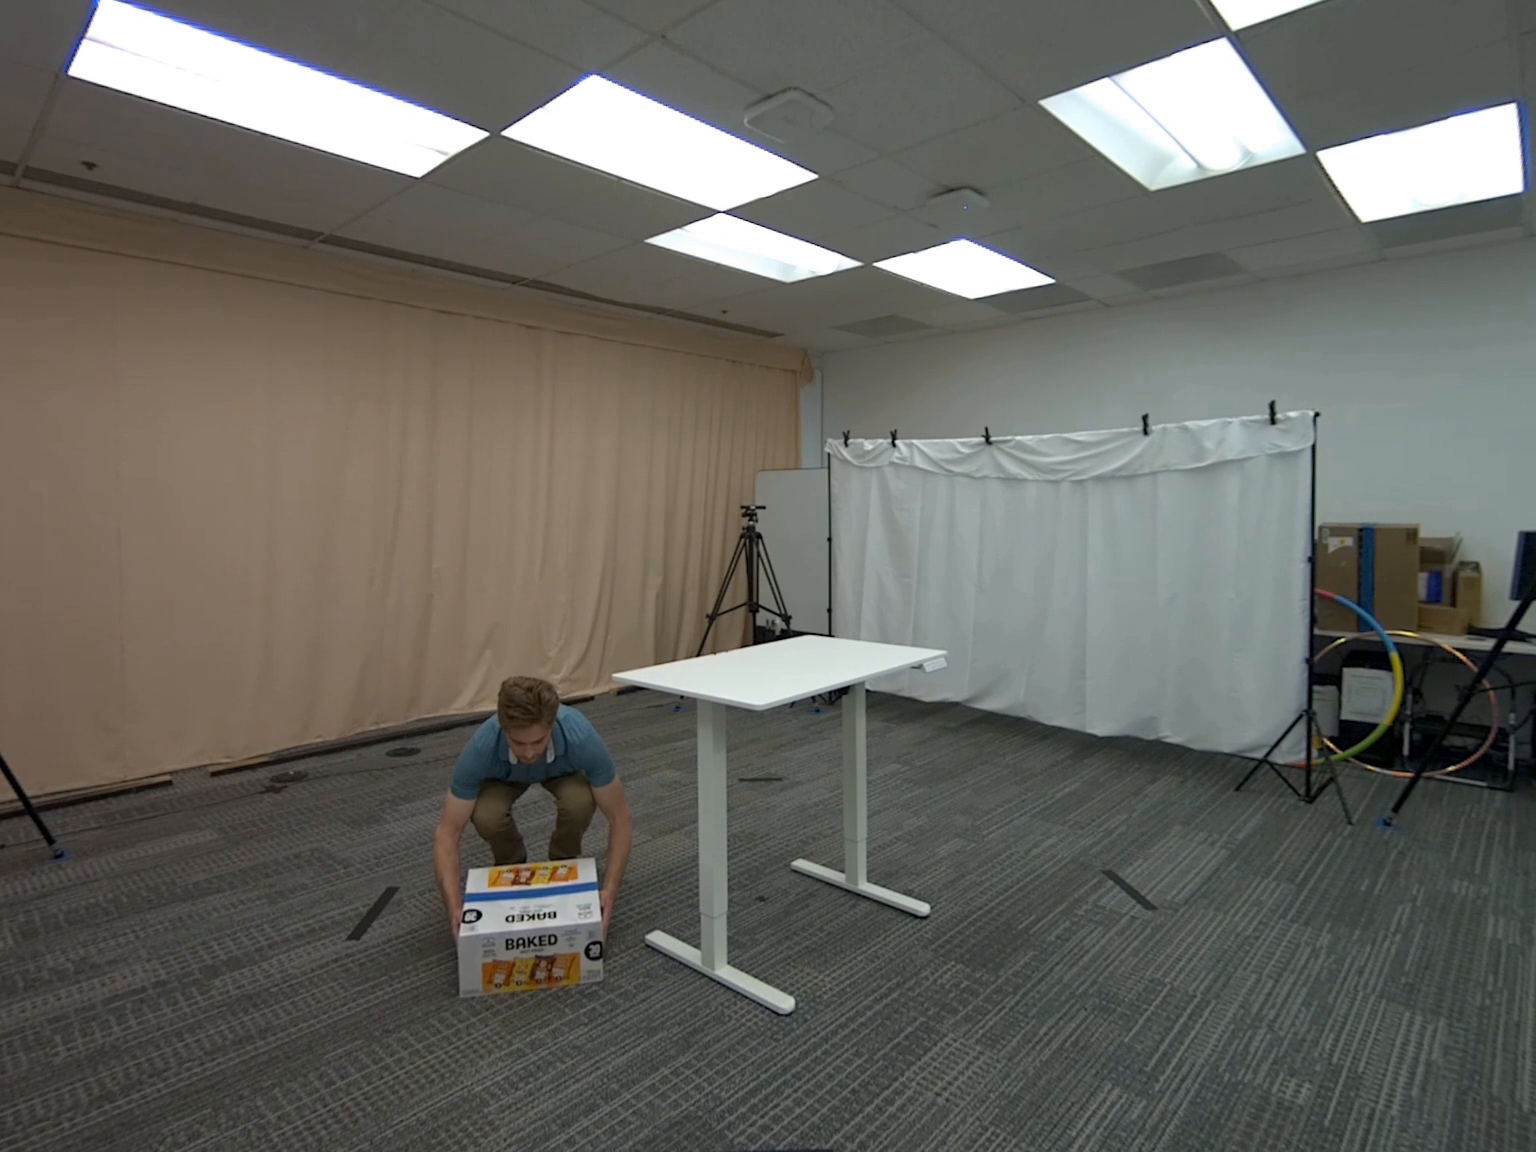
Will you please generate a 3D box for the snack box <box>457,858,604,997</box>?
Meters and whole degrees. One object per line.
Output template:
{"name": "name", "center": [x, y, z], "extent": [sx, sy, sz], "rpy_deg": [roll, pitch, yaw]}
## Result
{"name": "snack box", "center": [-0.719, 1.061, 2.565], "extent": [0.400, 0.204, 0.347], "rpy_deg": [-2, 12, -13]}
